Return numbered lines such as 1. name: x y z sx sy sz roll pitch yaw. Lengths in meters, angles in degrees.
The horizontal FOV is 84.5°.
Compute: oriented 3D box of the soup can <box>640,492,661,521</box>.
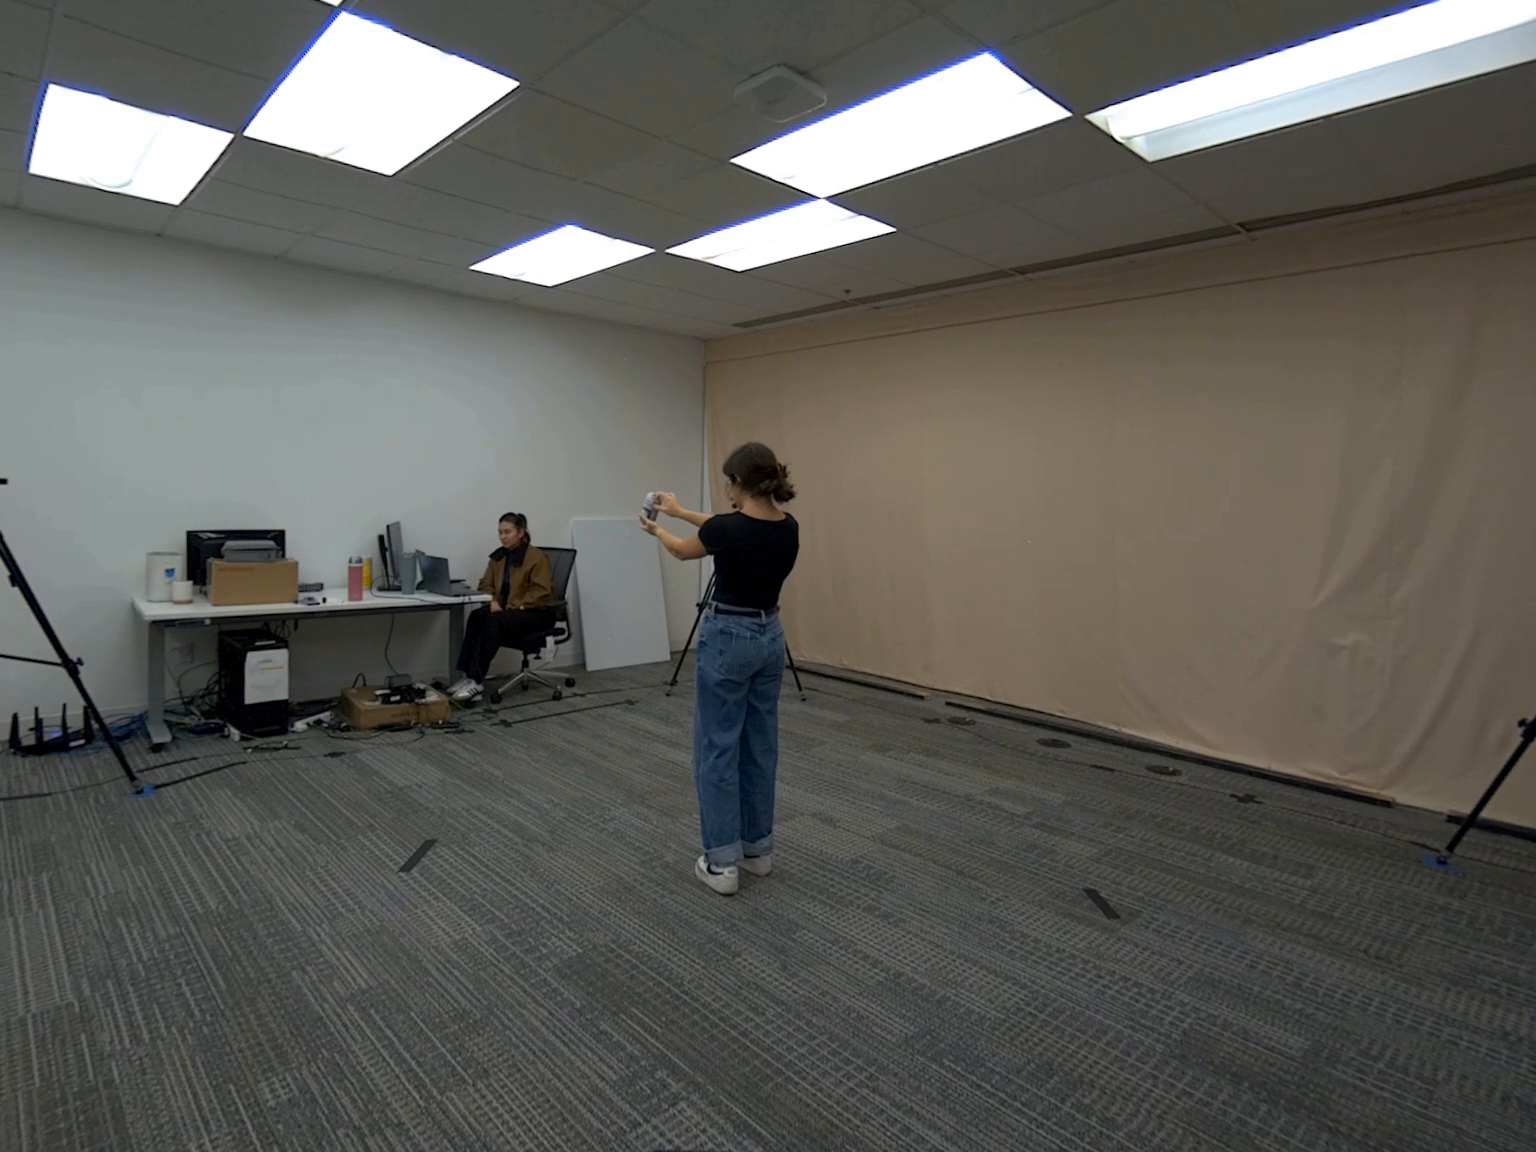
1. soup can: -0.486 -0.276 3.473 0.067 0.121 0.068 16 10 -4
